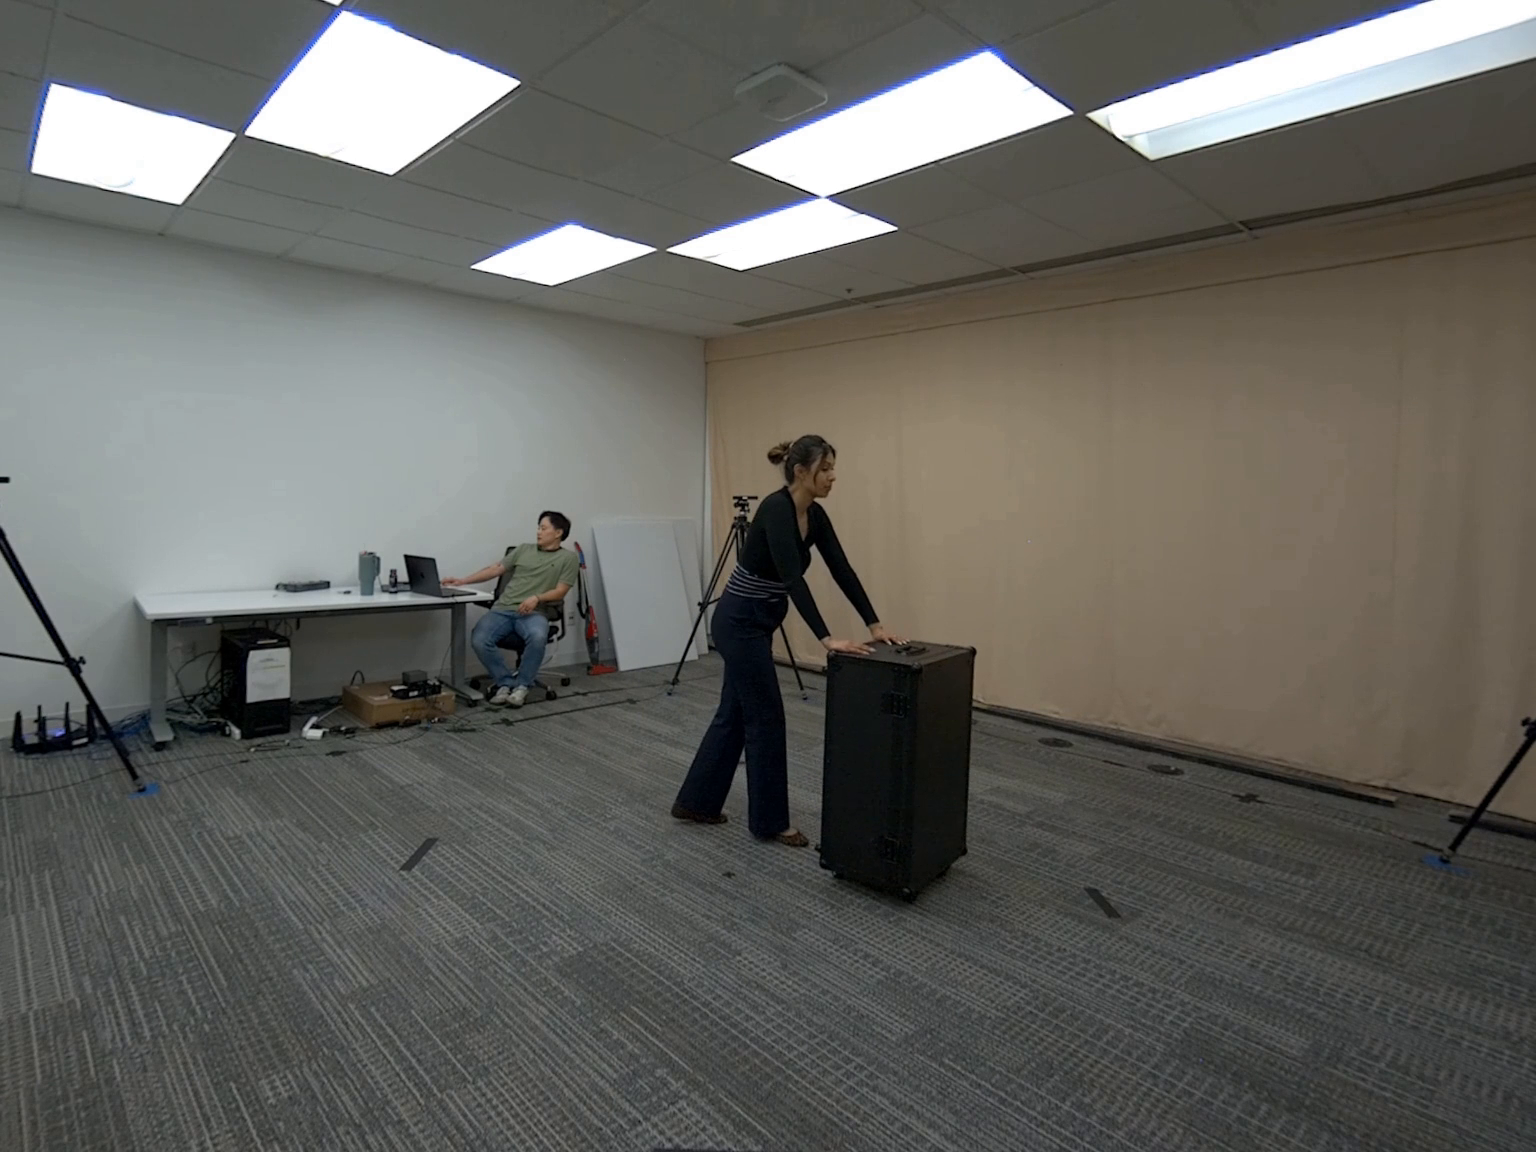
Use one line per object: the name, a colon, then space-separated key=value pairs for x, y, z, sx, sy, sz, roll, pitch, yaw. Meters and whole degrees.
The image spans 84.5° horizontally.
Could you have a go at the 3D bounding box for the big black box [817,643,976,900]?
big black box: x=0.460 y=0.693 z=3.080 sx=0.406 sy=0.859 sz=0.510 roll=4 pitch=4 yaw=36
